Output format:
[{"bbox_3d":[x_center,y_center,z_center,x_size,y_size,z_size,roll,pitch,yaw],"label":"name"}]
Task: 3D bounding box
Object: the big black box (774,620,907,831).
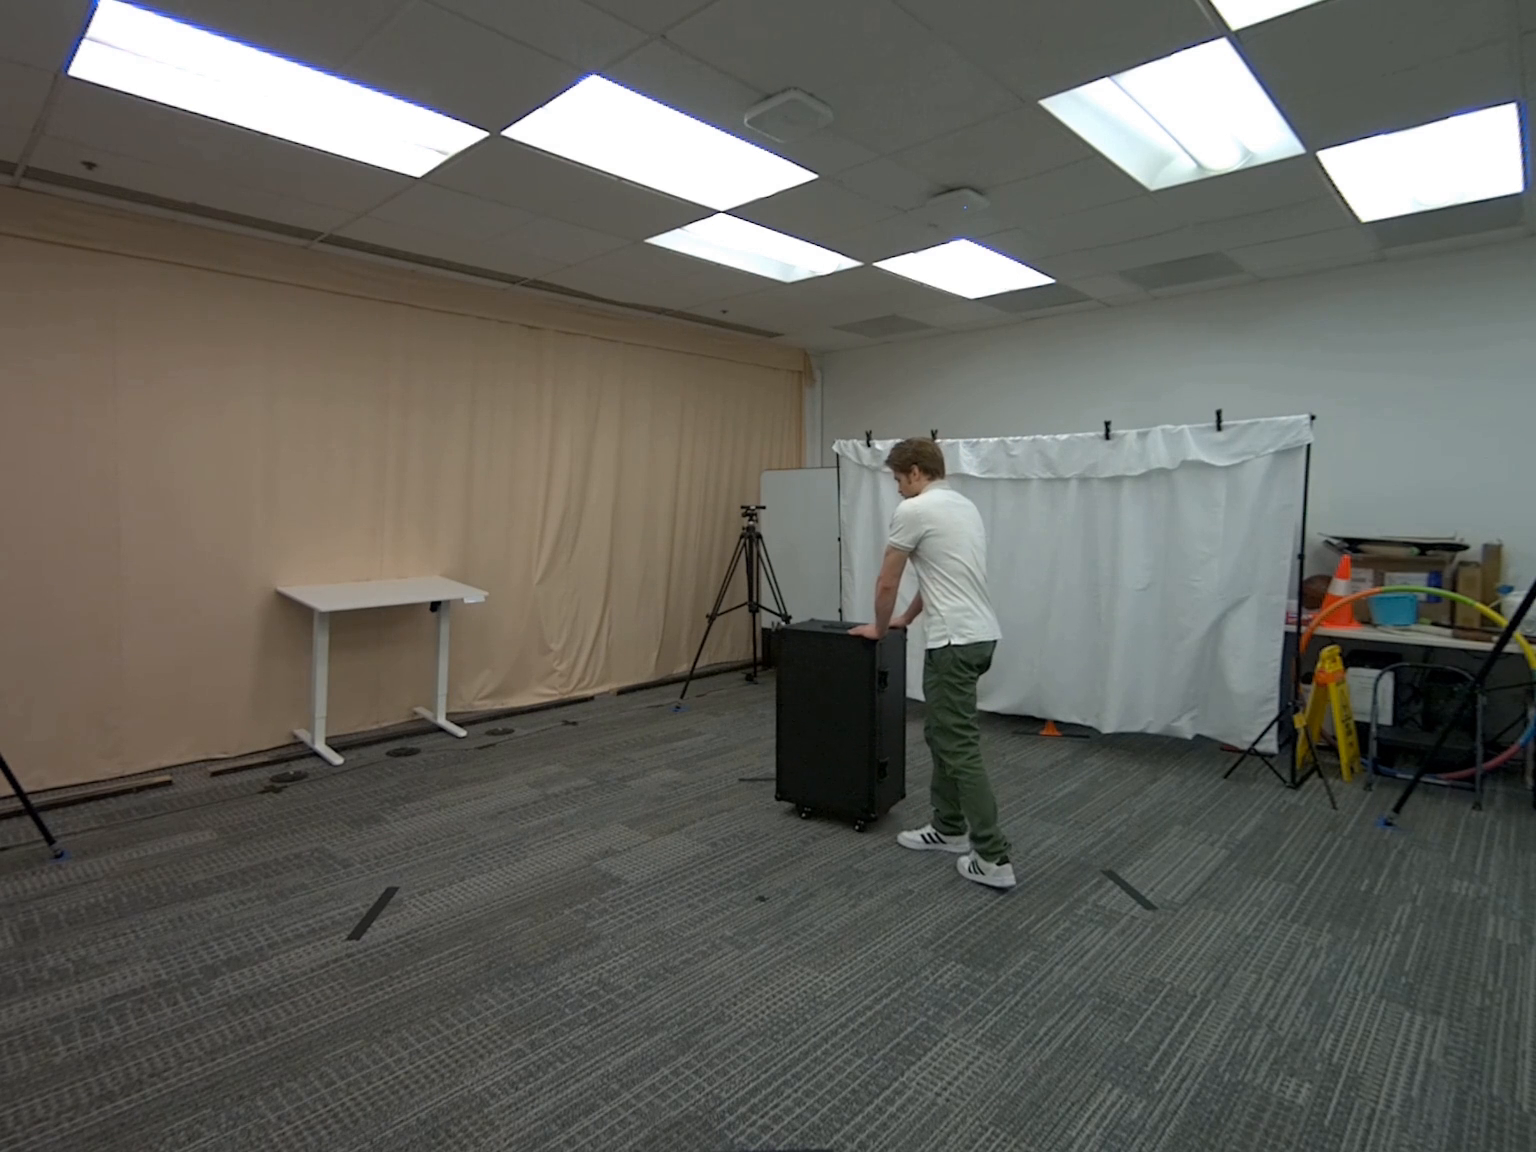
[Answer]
[{"bbox_3d":[0.327,0.652,3.793,0.539,0.867,0.374,2,4,31],"label":"big black box"}]
